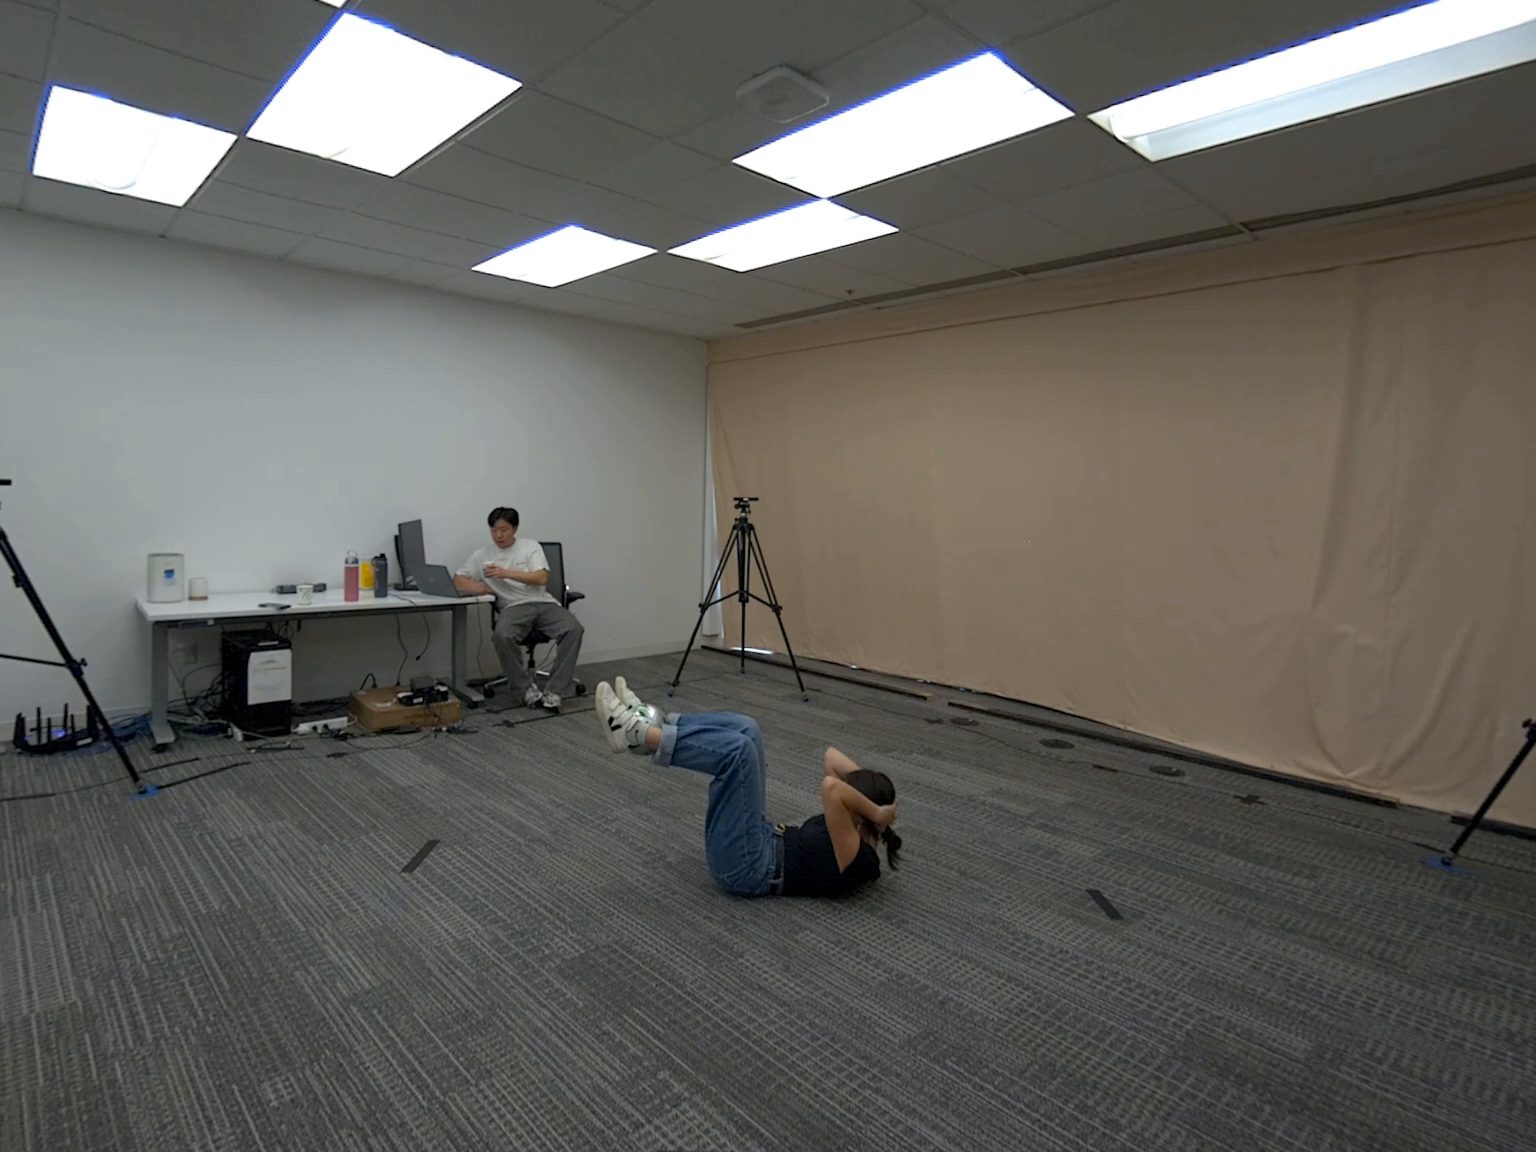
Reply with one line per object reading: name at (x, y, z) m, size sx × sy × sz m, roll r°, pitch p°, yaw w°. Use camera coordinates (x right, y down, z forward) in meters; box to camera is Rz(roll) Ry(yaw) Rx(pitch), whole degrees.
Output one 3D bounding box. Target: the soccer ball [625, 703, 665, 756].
soccer ball at (-0.471, 0.572, 3.083) m, size 0.187 × 0.186 × 0.188 m, roll 1°, pitch 7°, yaw -1°
